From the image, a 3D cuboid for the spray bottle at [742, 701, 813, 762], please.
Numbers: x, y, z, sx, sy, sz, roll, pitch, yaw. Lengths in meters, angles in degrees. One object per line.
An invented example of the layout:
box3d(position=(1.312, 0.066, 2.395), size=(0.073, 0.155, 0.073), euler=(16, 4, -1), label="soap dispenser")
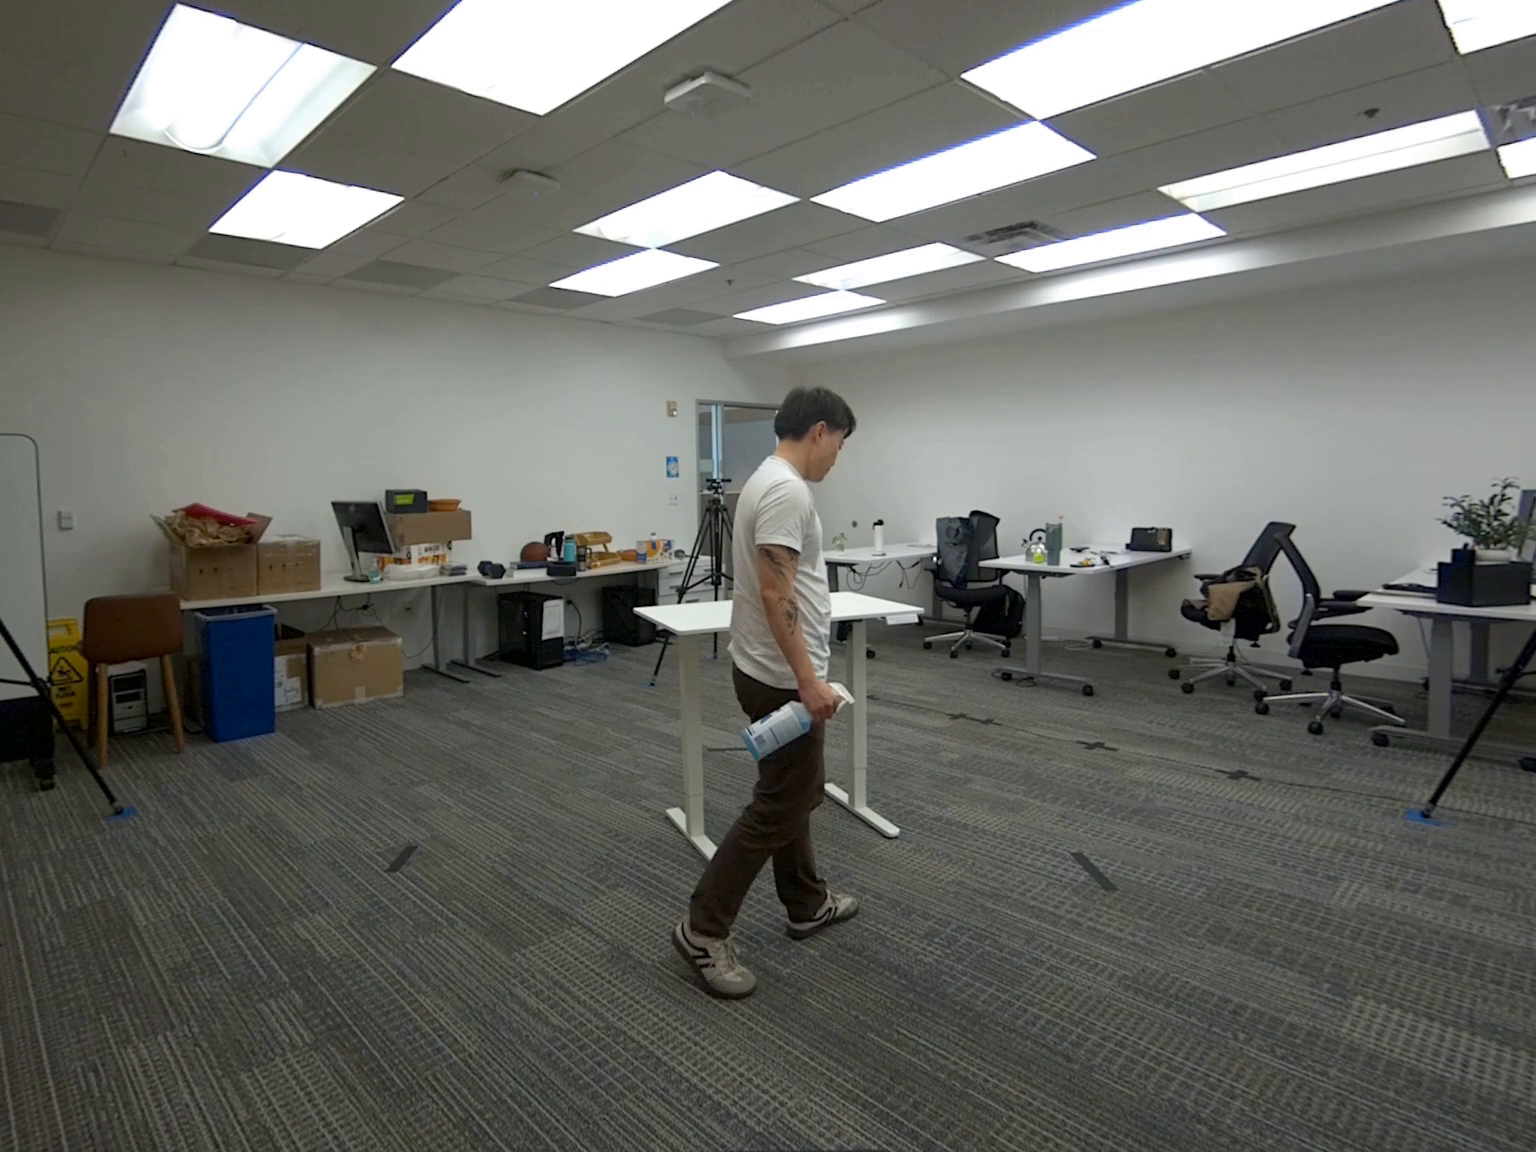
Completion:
box3d(position=(0.082, 0.374, 2.201), size=(0.296, 0.085, 0.092), euler=(-30, 18, -7), label="spray bottle")
